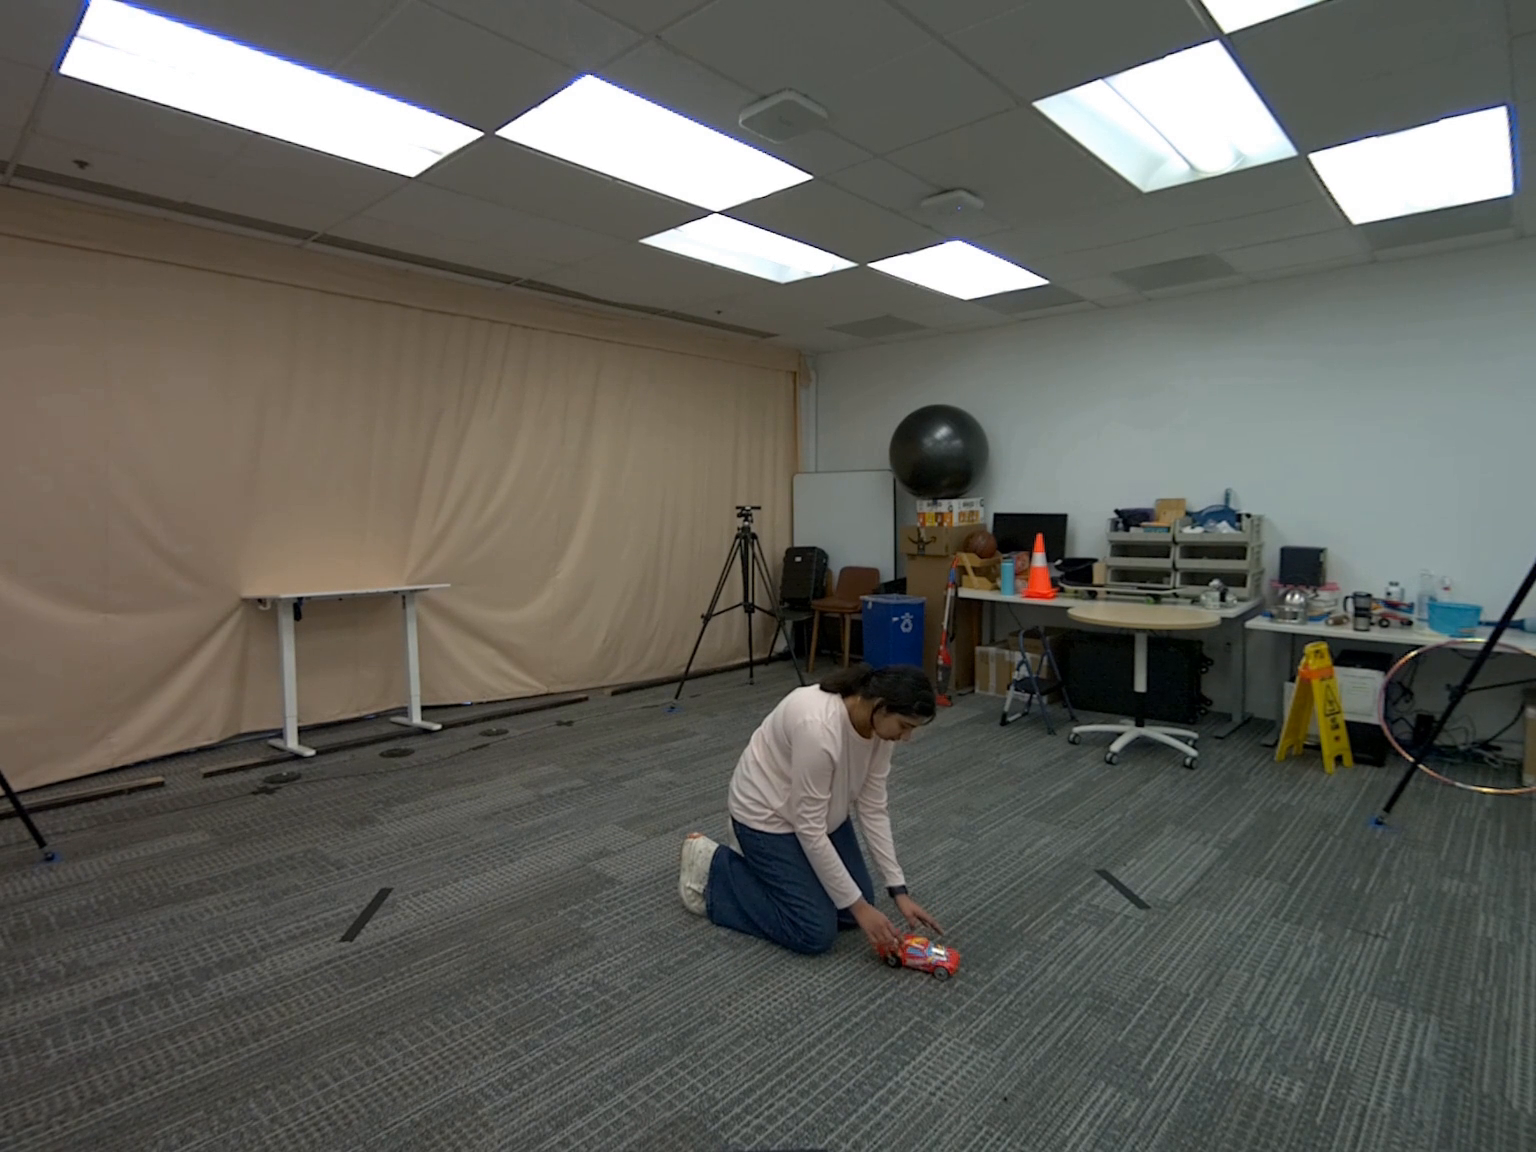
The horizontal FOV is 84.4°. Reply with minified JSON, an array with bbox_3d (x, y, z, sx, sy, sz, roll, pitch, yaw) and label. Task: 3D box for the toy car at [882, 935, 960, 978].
[{"bbox_3d":[0.451,1.146,2.551,0.261,0.083,0.127,13,9,25],"label":"toy car"}]
